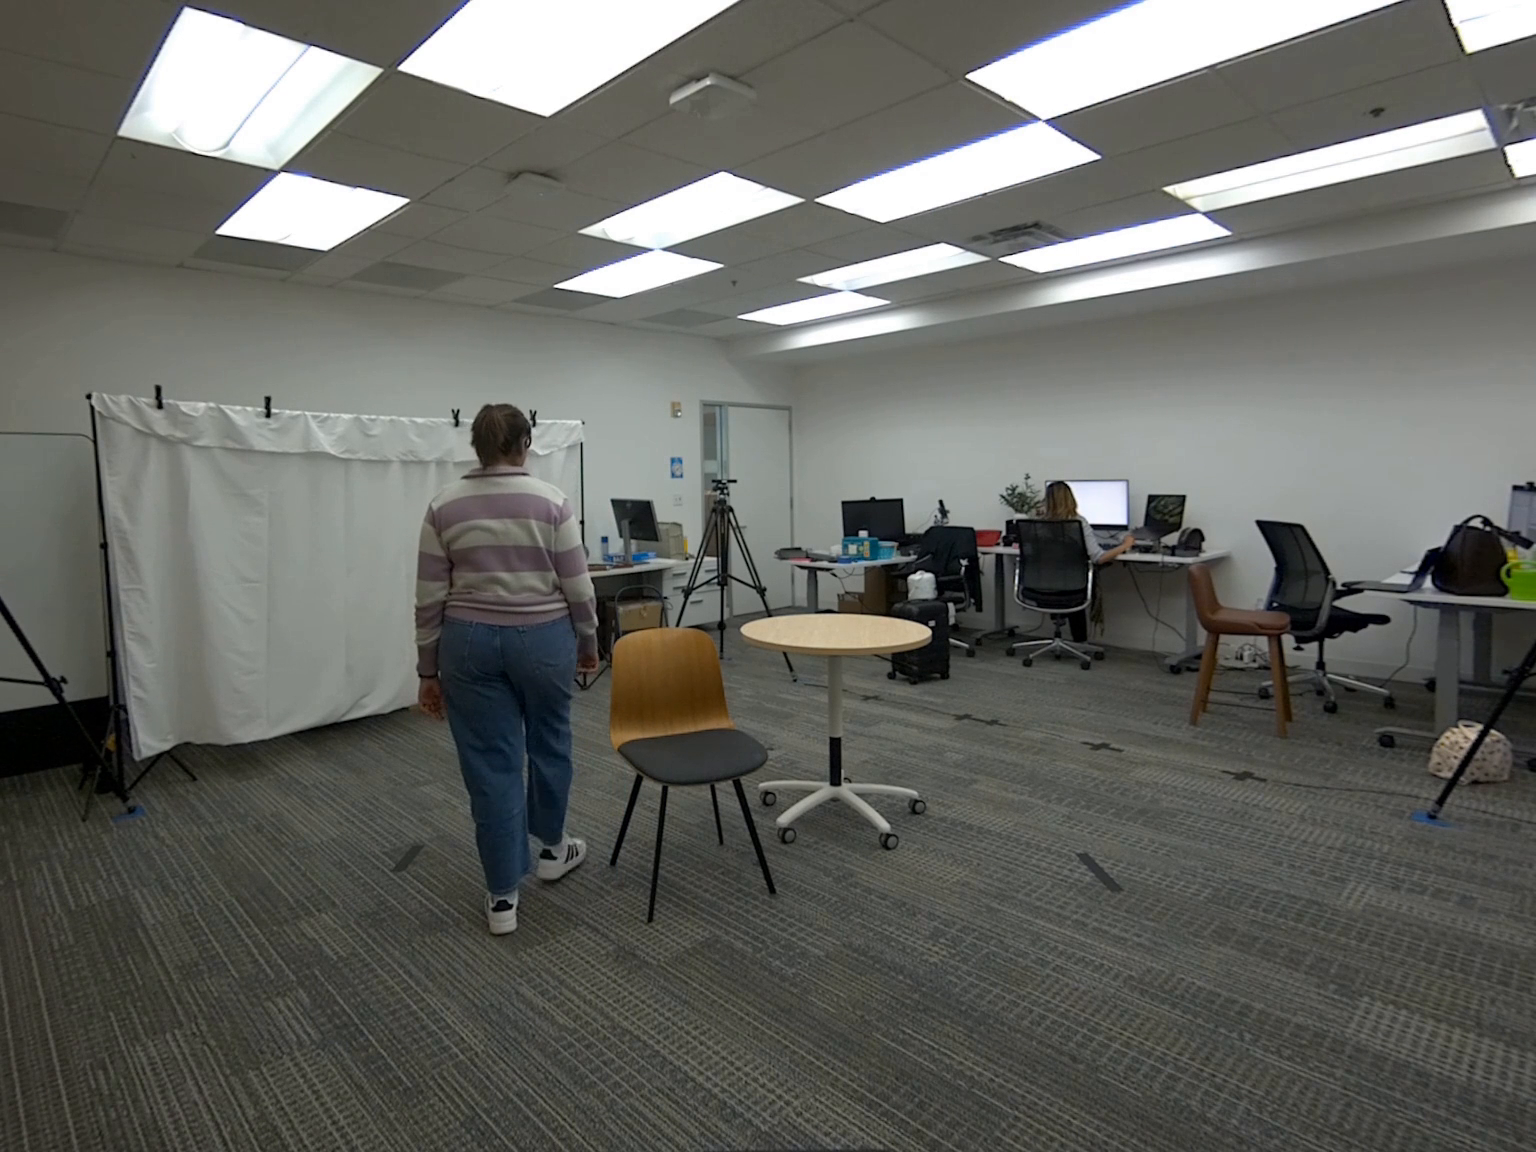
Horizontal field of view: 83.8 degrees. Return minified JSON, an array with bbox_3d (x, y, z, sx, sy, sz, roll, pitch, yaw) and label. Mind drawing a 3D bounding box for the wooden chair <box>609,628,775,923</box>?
[{"bbox_3d":[-0.274,0.641,2.957,0.468,0.877,0.534,-3,1,-25],"label":"wooden chair"}]
